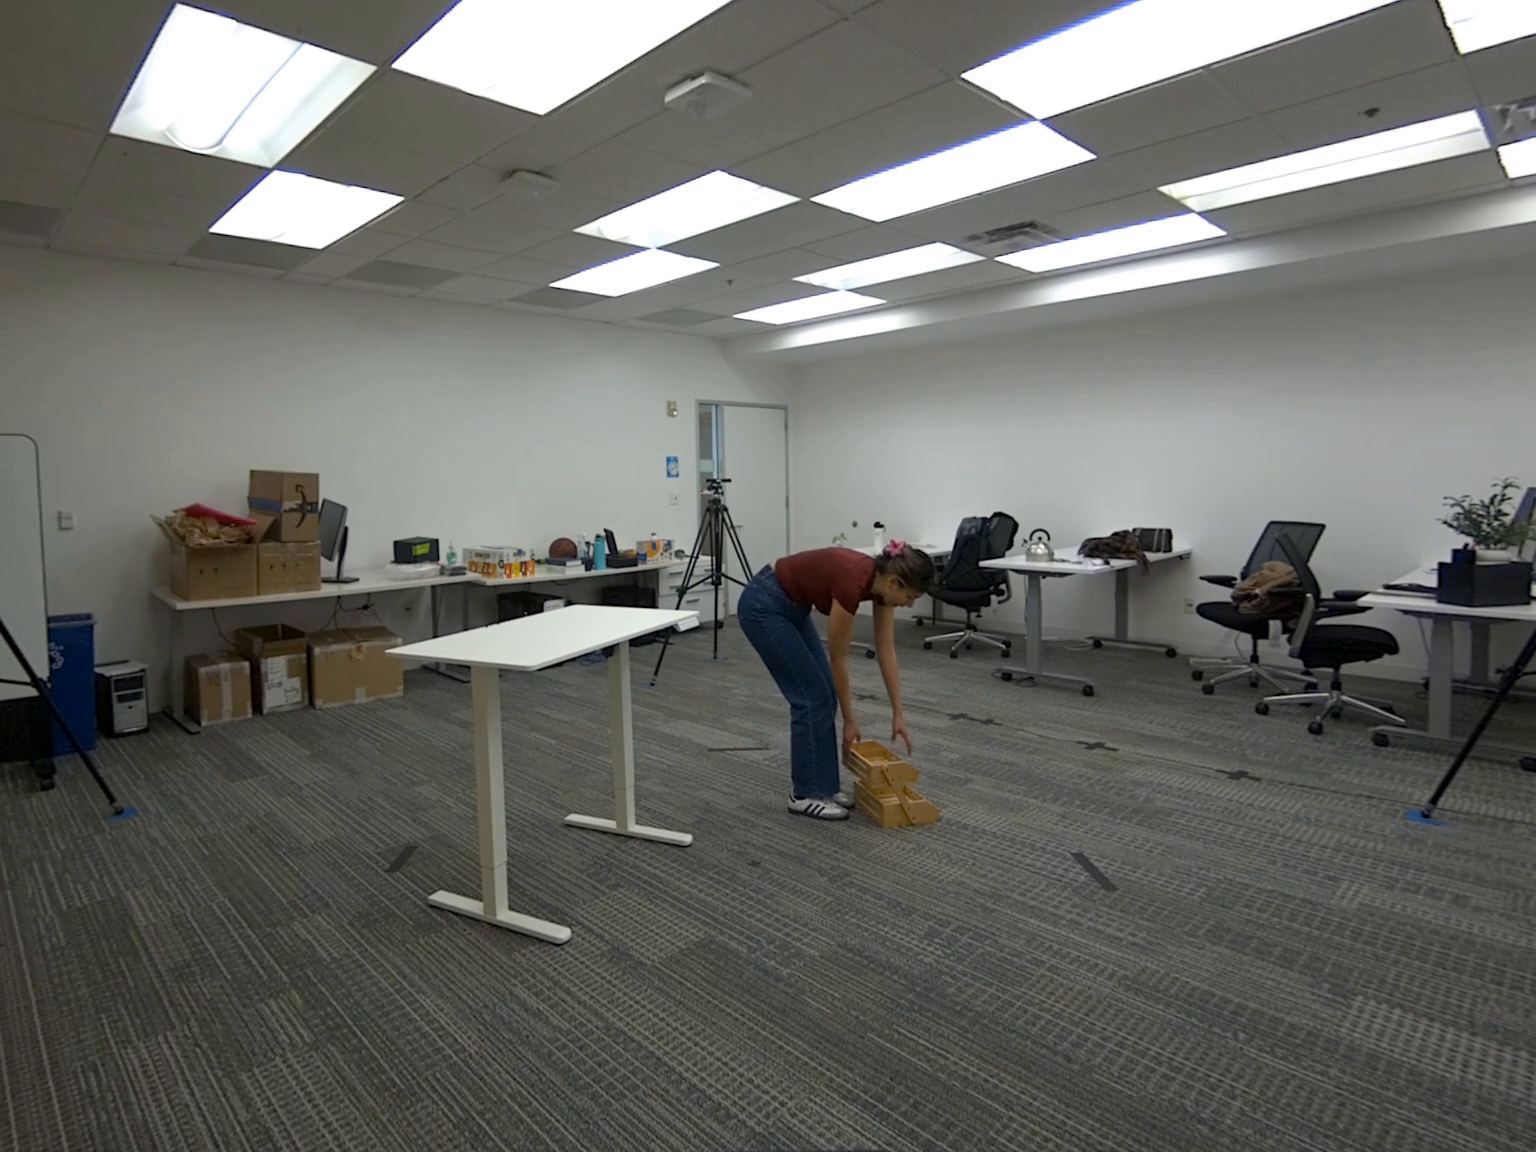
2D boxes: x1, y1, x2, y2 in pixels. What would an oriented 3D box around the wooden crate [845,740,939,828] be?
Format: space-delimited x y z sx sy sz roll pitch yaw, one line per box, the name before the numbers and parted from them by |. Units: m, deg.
wooden crate | 0.506 0.844 3.557 0.298 0.272 0.330 -3 6 -16
